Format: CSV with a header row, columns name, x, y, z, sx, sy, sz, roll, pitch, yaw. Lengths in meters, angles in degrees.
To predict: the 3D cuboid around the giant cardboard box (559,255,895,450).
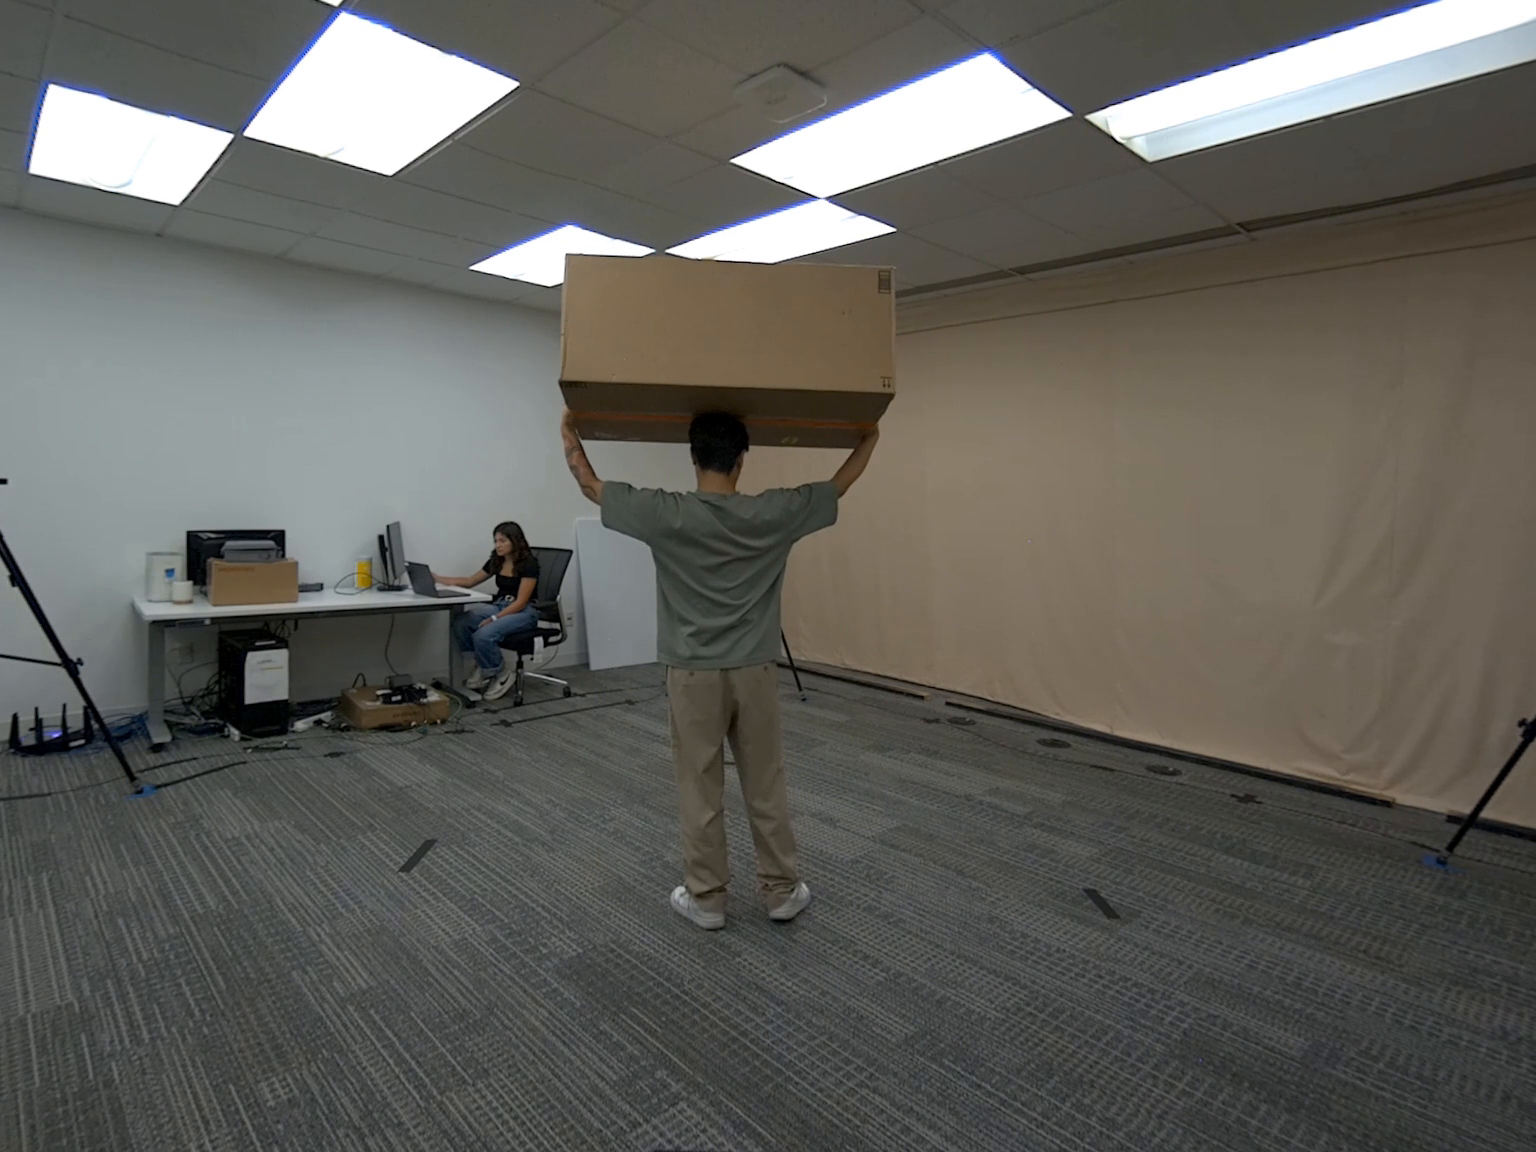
name,x,y,z,sx,sy,sz,roll,pitch,yaw
giant cardboard box,-0.145,-0.724,2.835,1.023,0.429,0.574,2,-10,-3
